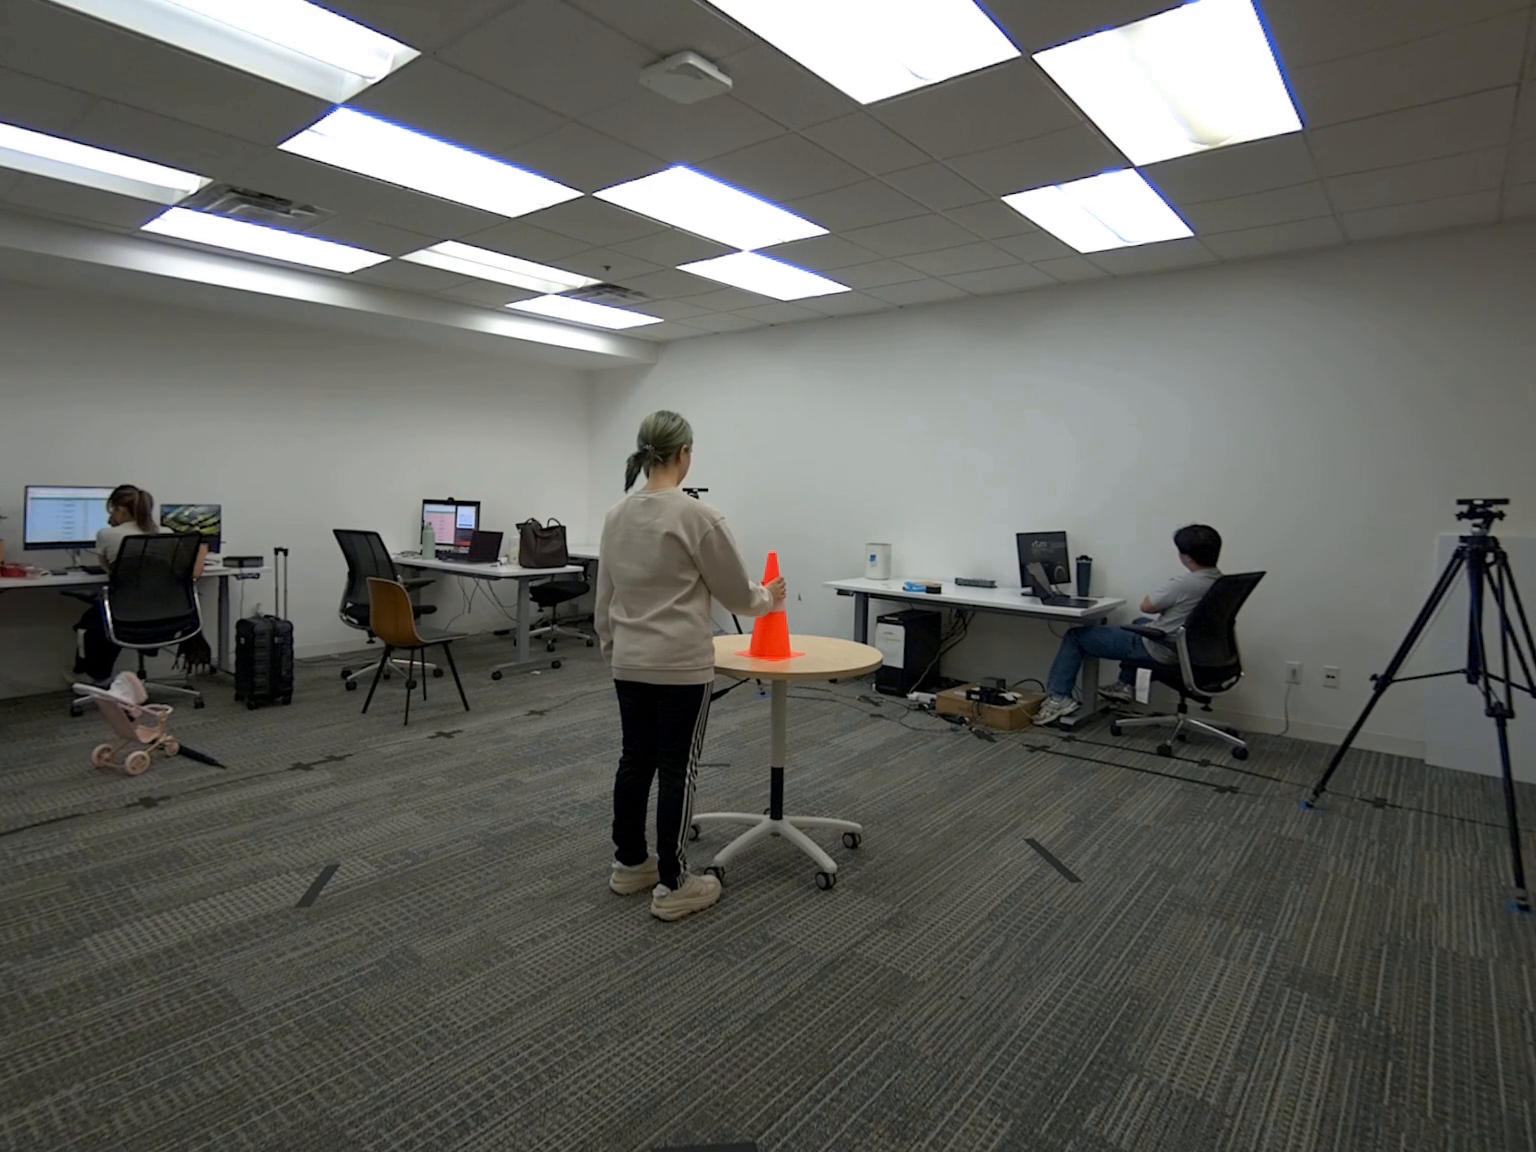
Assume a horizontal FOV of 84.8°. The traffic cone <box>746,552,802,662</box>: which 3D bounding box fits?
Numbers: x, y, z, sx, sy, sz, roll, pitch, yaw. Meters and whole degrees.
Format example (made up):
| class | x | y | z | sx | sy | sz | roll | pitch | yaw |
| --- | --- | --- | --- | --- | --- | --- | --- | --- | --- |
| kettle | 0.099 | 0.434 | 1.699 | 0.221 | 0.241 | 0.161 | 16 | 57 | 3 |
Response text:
| class | x | y | z | sx | sy | sz | roll | pitch | yaw |
| --- | --- | --- | --- | --- | --- | --- | --- | --- | --- |
| traffic cone | 0.001 | 0.100 | 3.136 | 0.211 | 0.382 | 0.198 | 4 | 5 | 33 |
